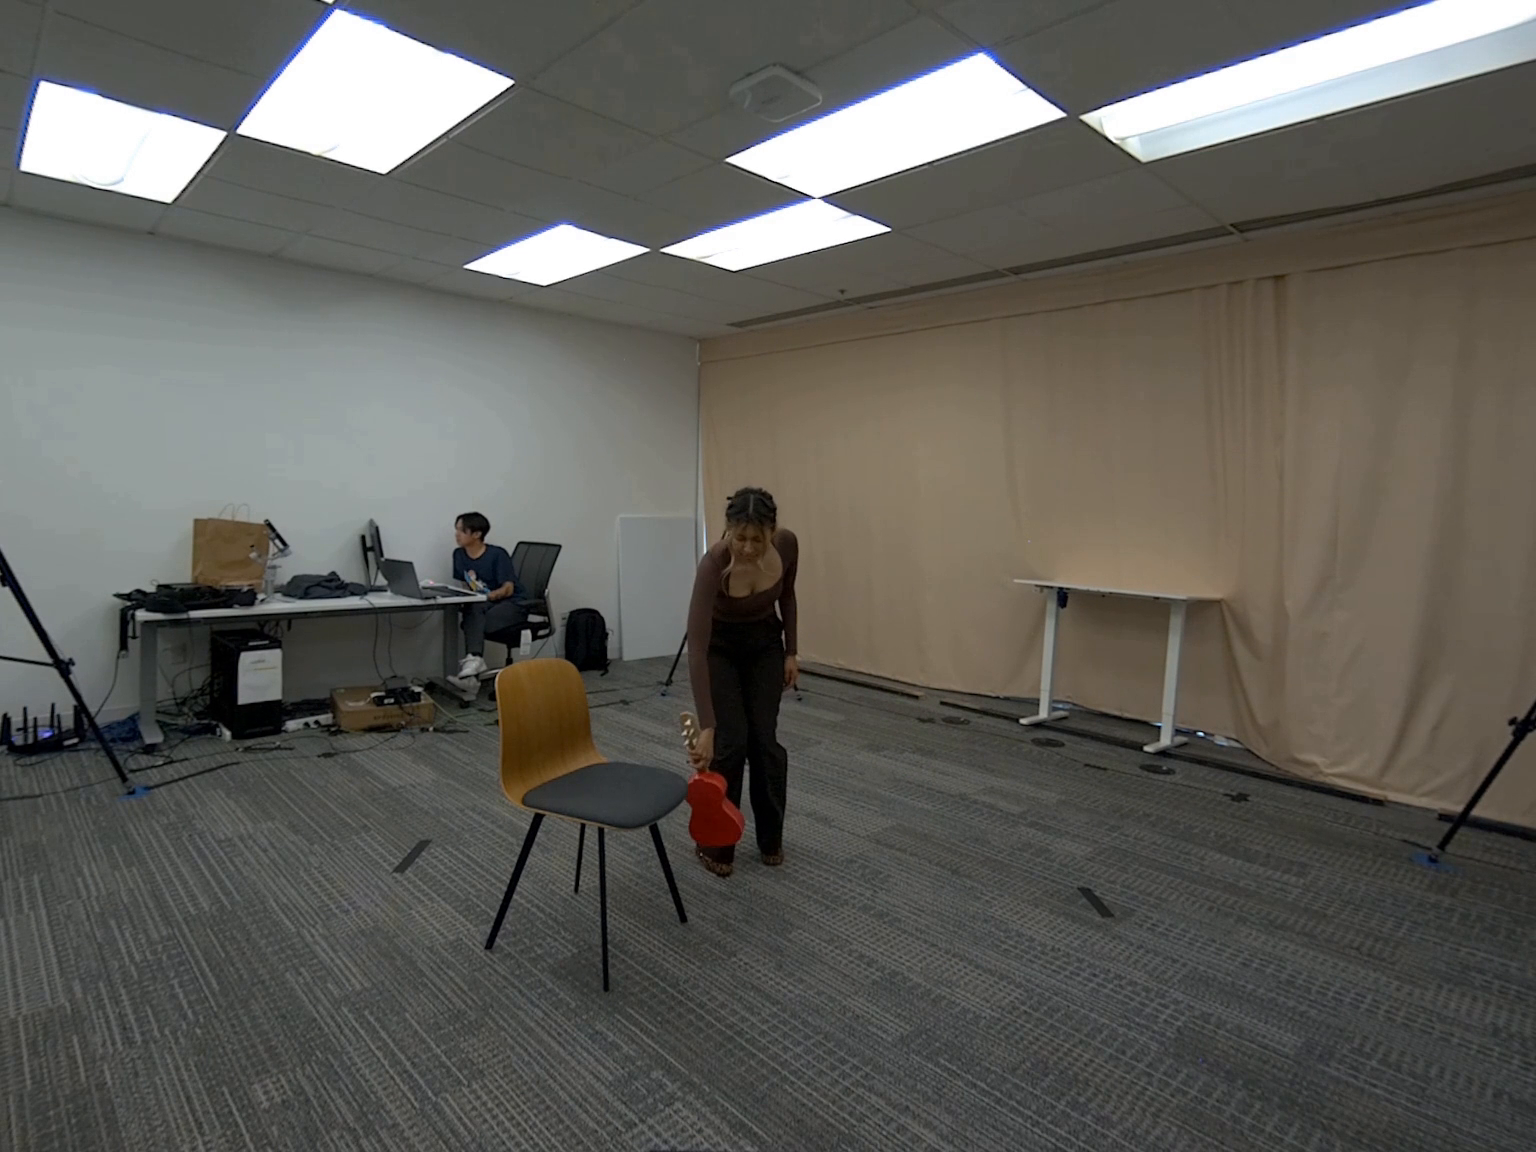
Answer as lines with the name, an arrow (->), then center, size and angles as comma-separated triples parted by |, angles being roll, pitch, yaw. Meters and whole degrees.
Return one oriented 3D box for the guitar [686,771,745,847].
guitar -> -0.261, 0.716, 2.911 | 0.195, 0.491, 0.071 | -16, 15, 19
